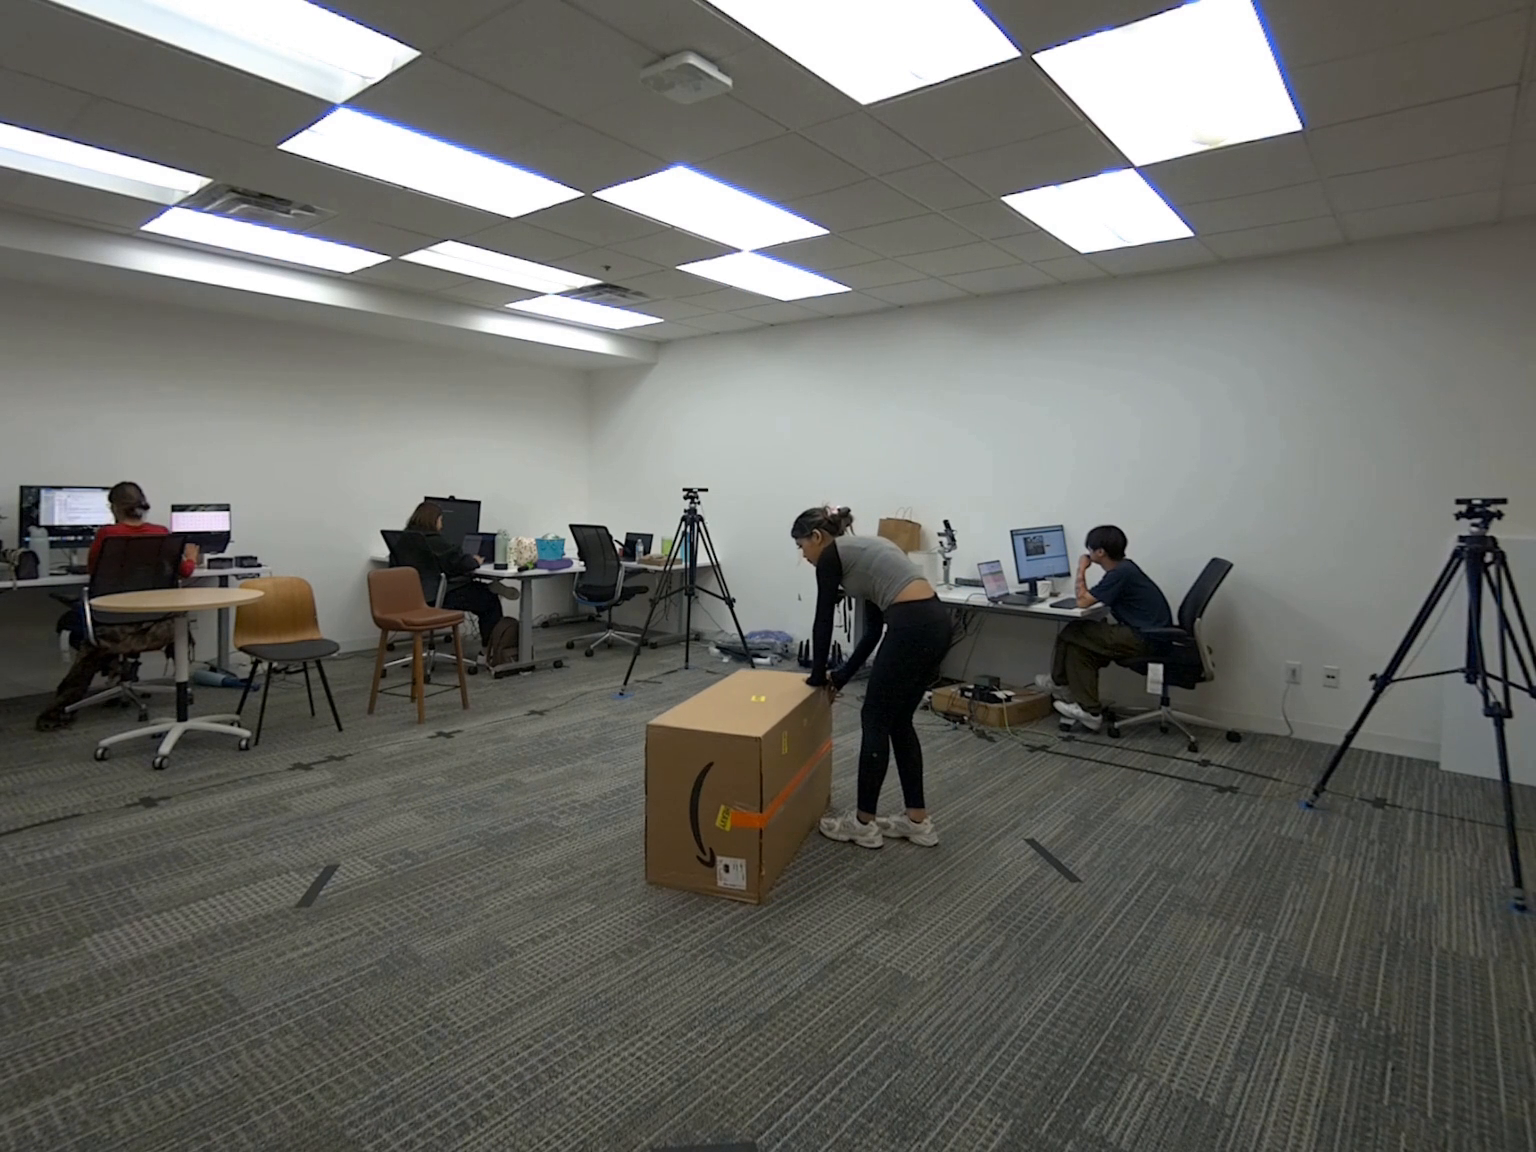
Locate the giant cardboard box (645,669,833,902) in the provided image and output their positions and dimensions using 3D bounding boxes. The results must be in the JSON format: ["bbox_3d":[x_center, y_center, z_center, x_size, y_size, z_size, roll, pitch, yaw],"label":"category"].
[{"bbox_3d":[-0.083,0.758,3.366,0.456,0.581,1.010,3,5,18],"label":"giant cardboard box"}]
